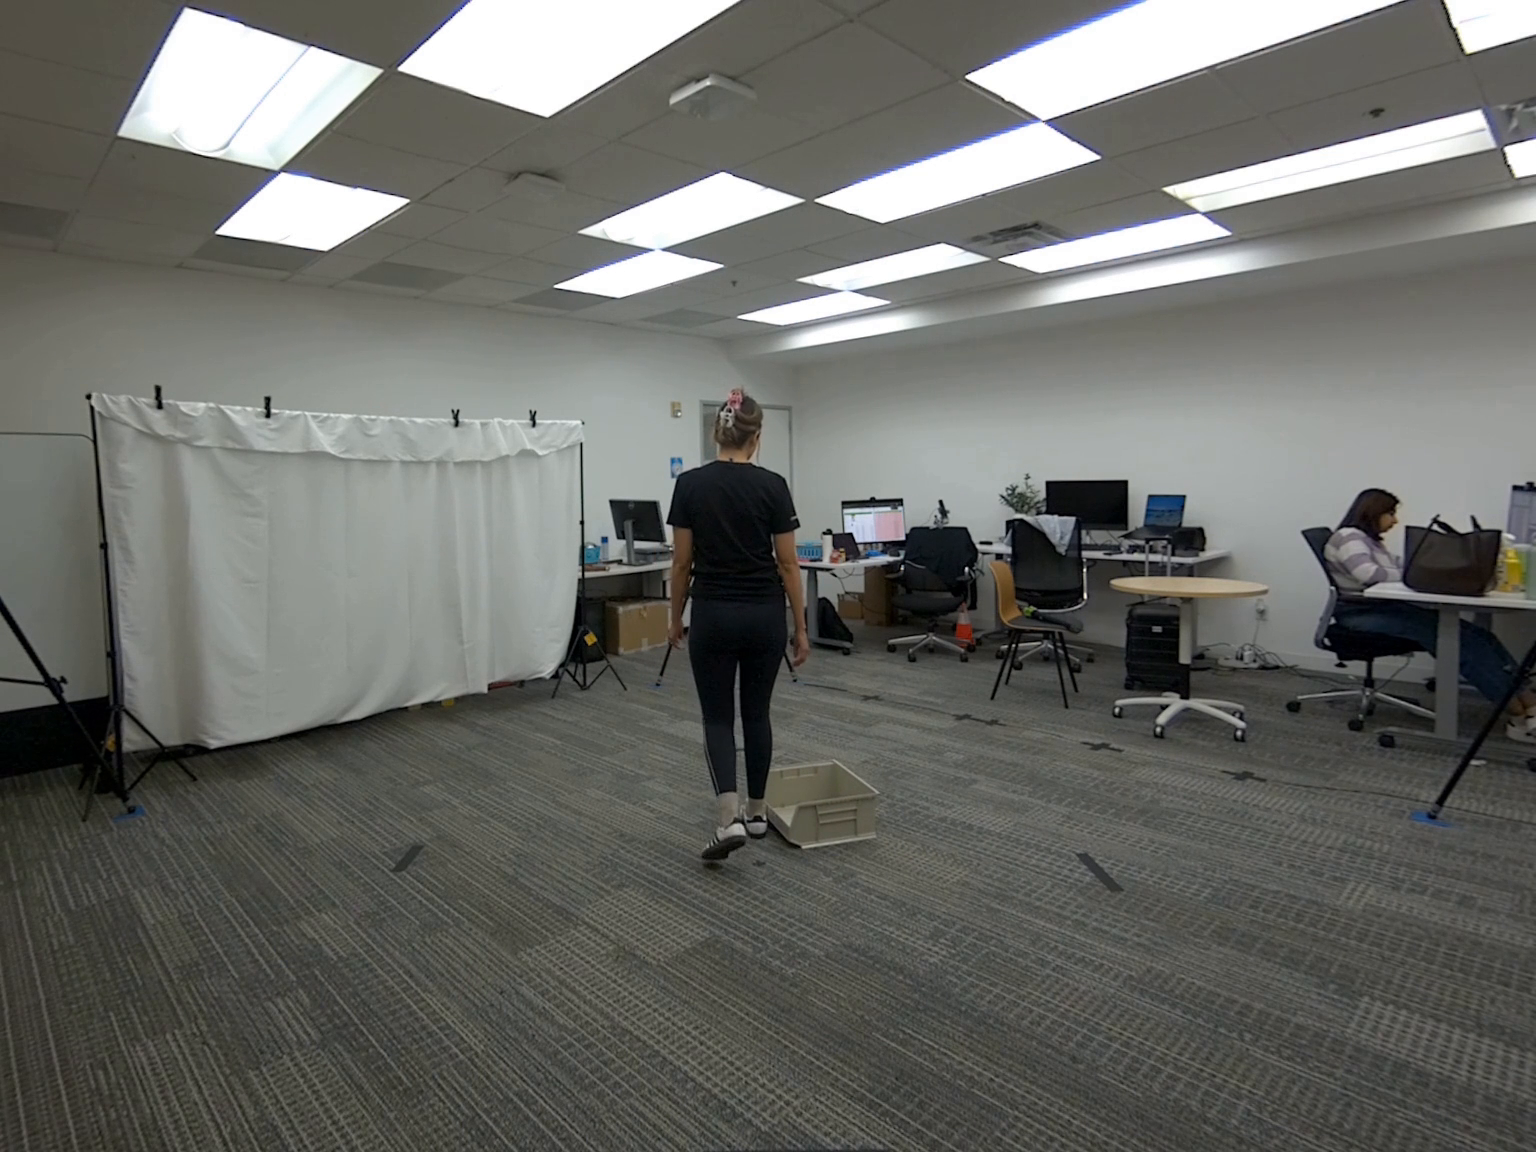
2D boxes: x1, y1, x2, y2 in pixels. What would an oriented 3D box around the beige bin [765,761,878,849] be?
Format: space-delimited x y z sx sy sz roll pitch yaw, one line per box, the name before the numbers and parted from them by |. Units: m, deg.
beige bin | 0.187 0.916 3.457 0.371 0.188 0.431 -2 6 -19
